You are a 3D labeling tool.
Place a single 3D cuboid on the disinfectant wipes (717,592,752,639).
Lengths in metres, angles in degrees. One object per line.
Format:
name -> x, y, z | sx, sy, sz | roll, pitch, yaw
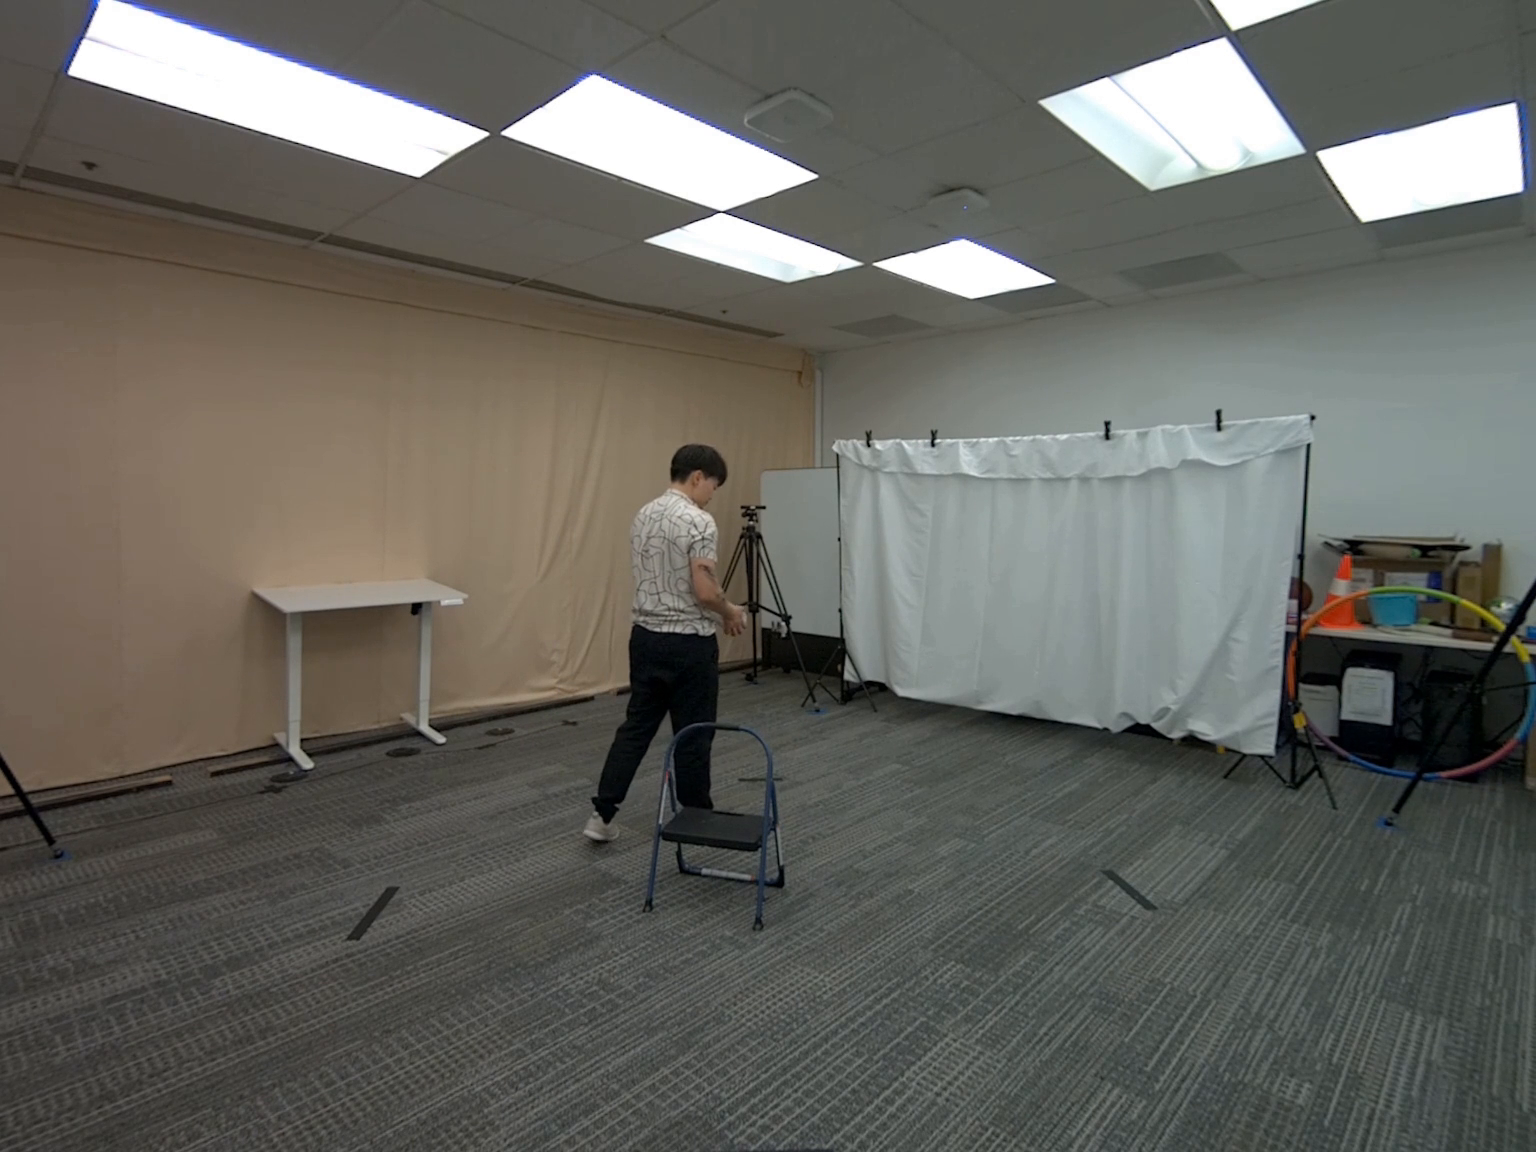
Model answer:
disinfectant wipes -> -0.188, 0.165, 3.620 | 0.114, 0.117, 0.225 | -3, 19, -35
